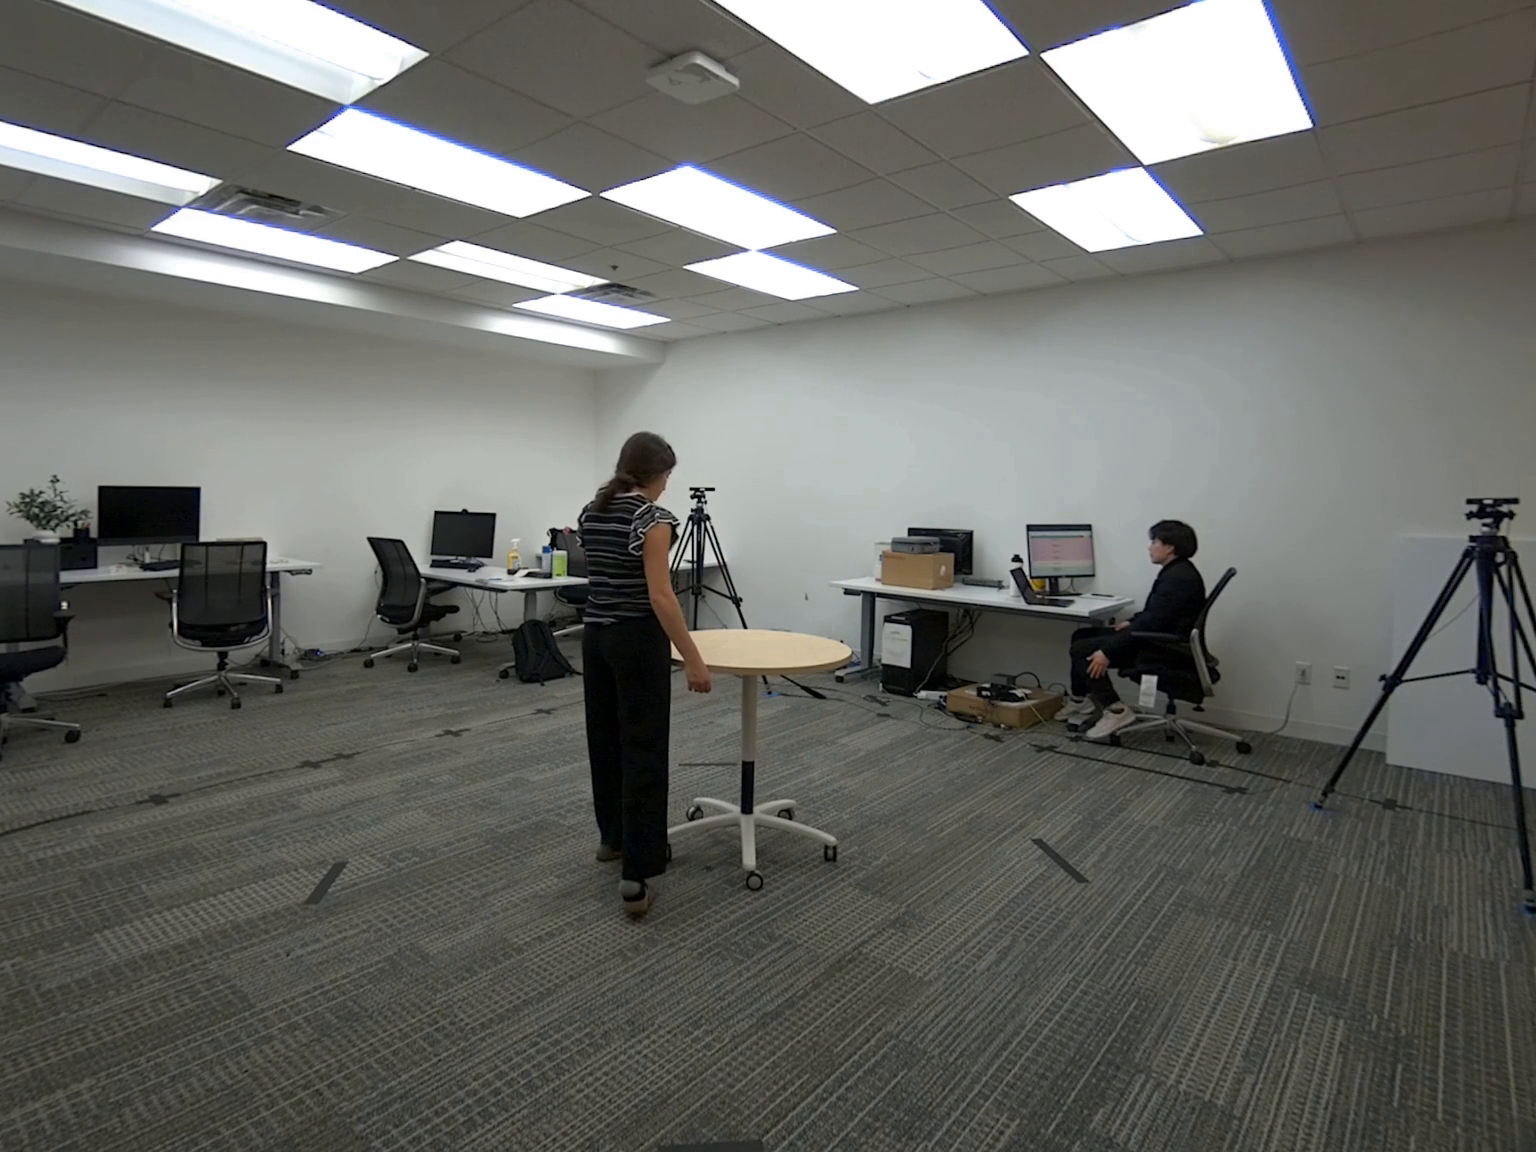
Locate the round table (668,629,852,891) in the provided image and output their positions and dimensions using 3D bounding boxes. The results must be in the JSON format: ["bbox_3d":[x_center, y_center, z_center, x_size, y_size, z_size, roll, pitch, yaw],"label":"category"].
[{"bbox_3d":[-0.092,0.658,3.275,0.784,0.784,0.789,2,4,-2],"label":"round table"}]
